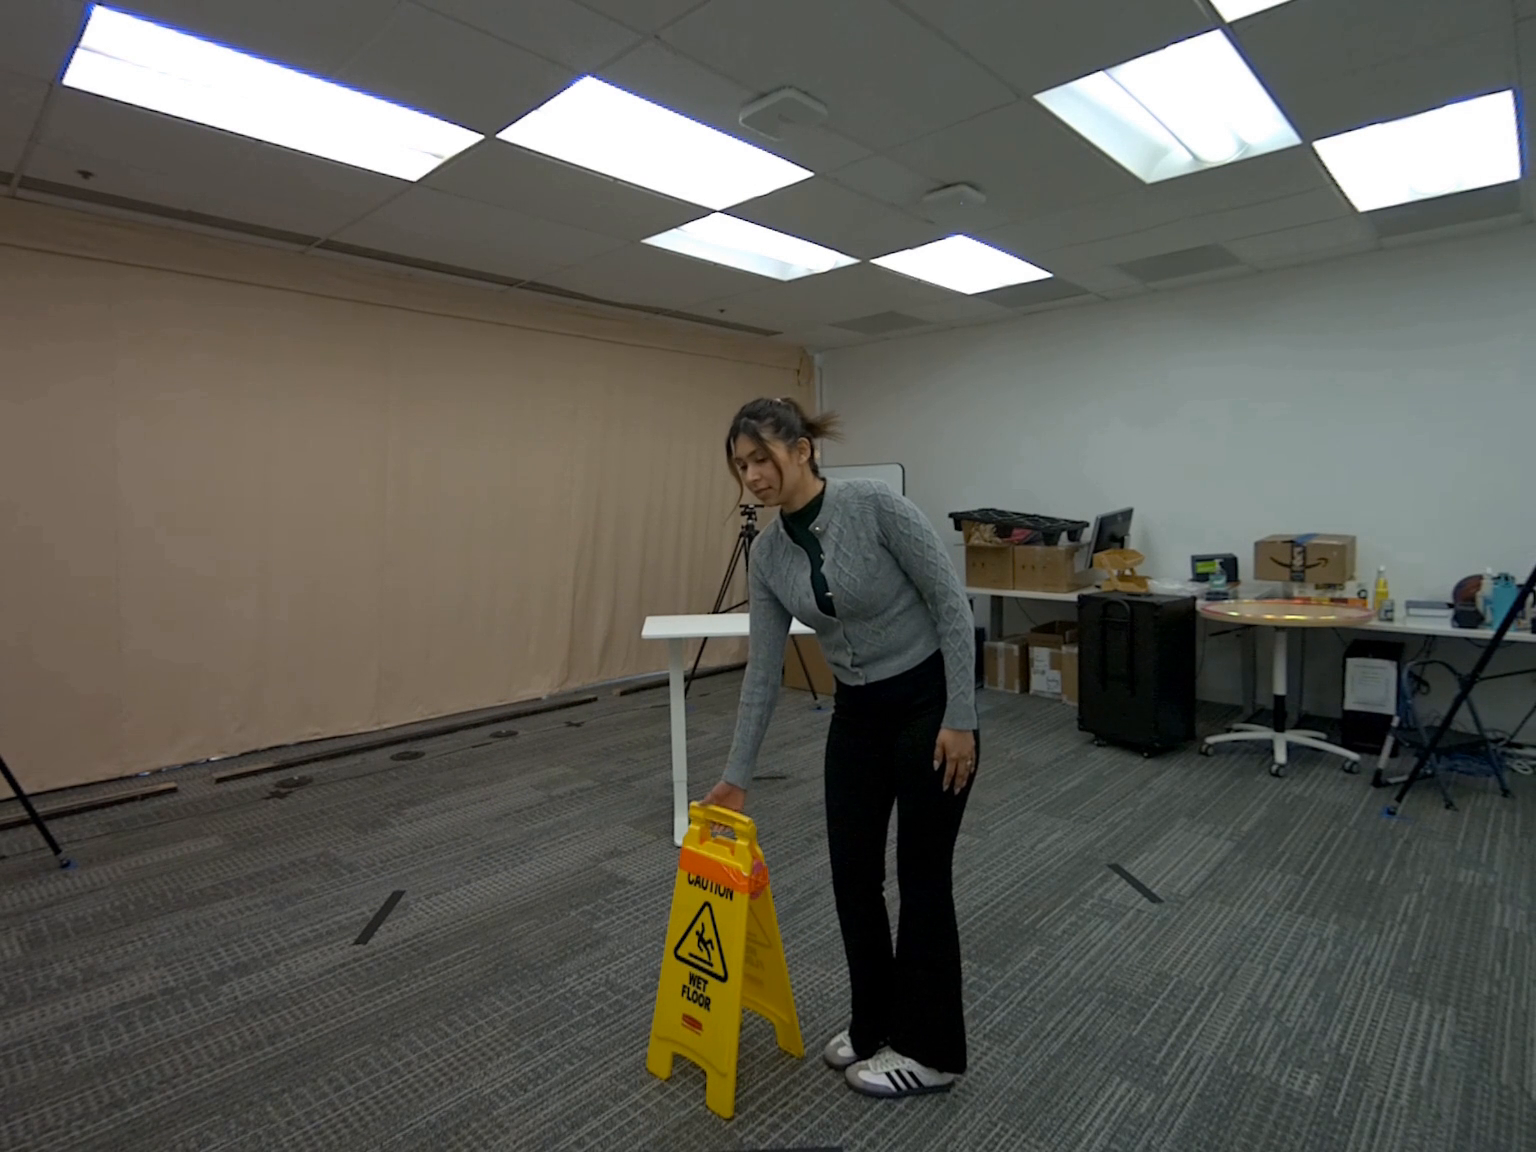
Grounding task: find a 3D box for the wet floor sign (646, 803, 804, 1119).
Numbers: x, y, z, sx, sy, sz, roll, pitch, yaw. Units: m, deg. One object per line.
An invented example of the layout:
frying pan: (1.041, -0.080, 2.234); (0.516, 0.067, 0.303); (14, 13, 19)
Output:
wet floor sign: (-0.107, 0.900, 2.082); (0.291, 0.644, 0.281); (1, 5, 40)
